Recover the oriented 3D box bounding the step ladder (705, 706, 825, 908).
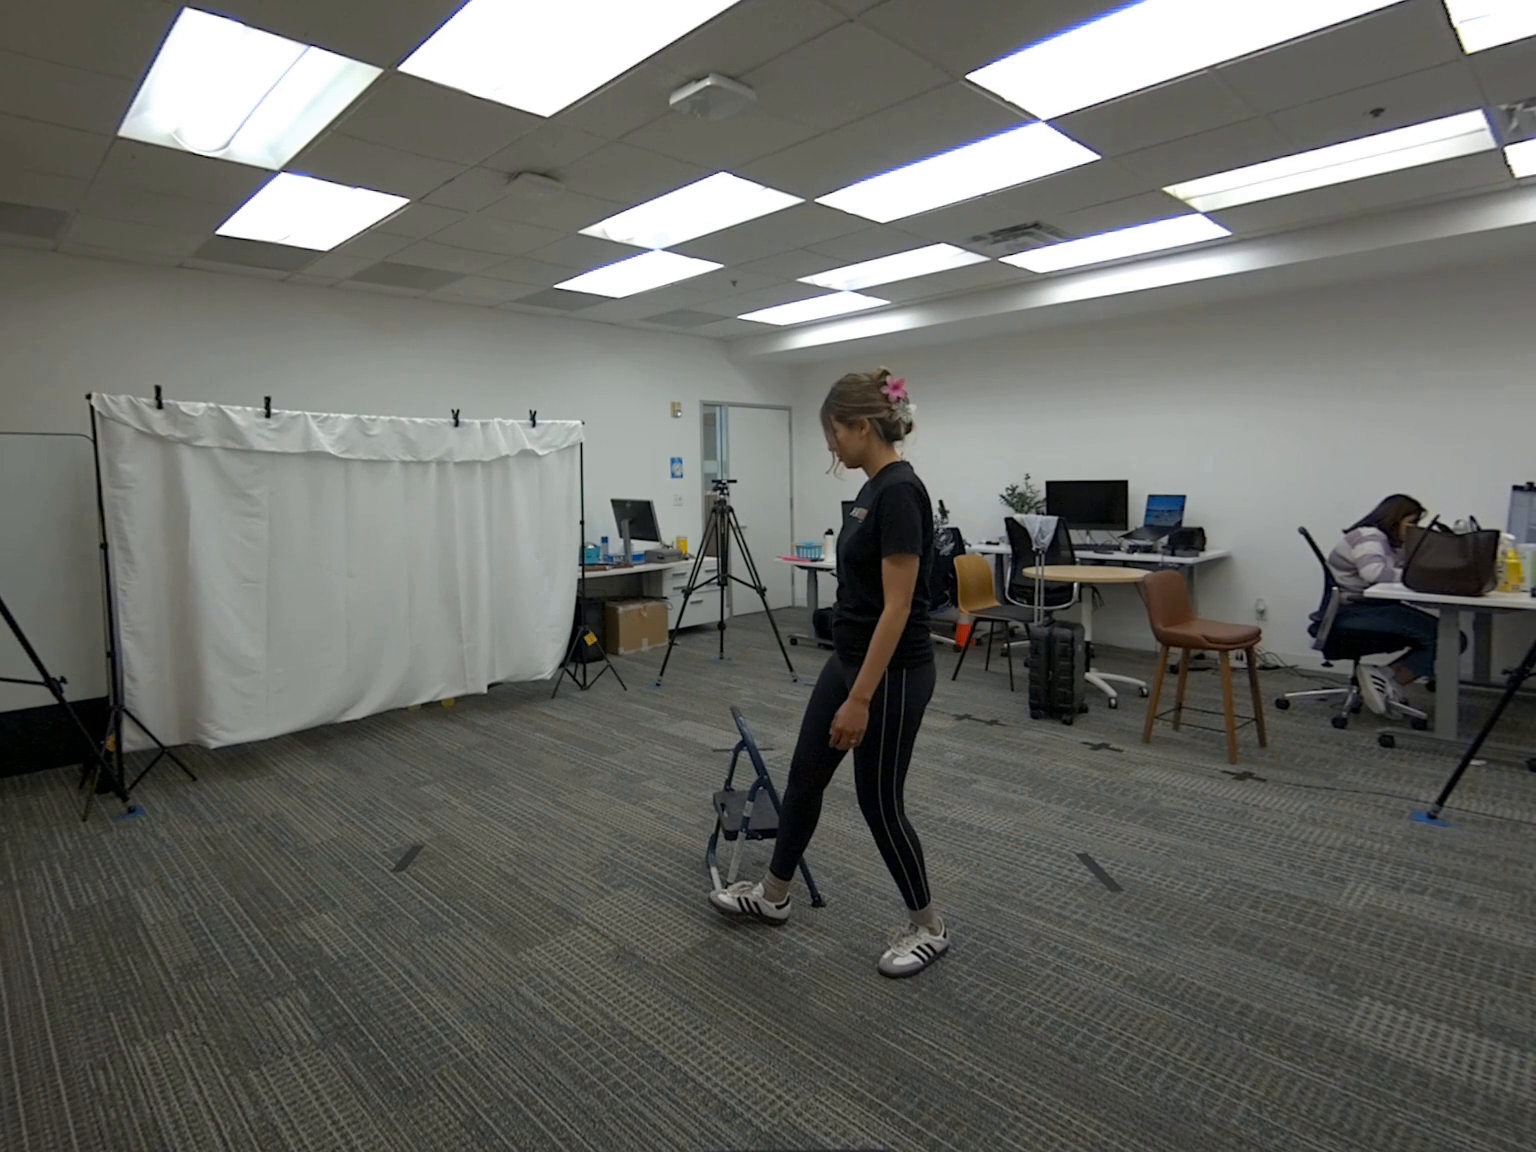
[{"bbox_3d":[-0.025,0.765,2.954,0.346,0.604,0.436,-1,4,-10],"label":"step ladder"}]
